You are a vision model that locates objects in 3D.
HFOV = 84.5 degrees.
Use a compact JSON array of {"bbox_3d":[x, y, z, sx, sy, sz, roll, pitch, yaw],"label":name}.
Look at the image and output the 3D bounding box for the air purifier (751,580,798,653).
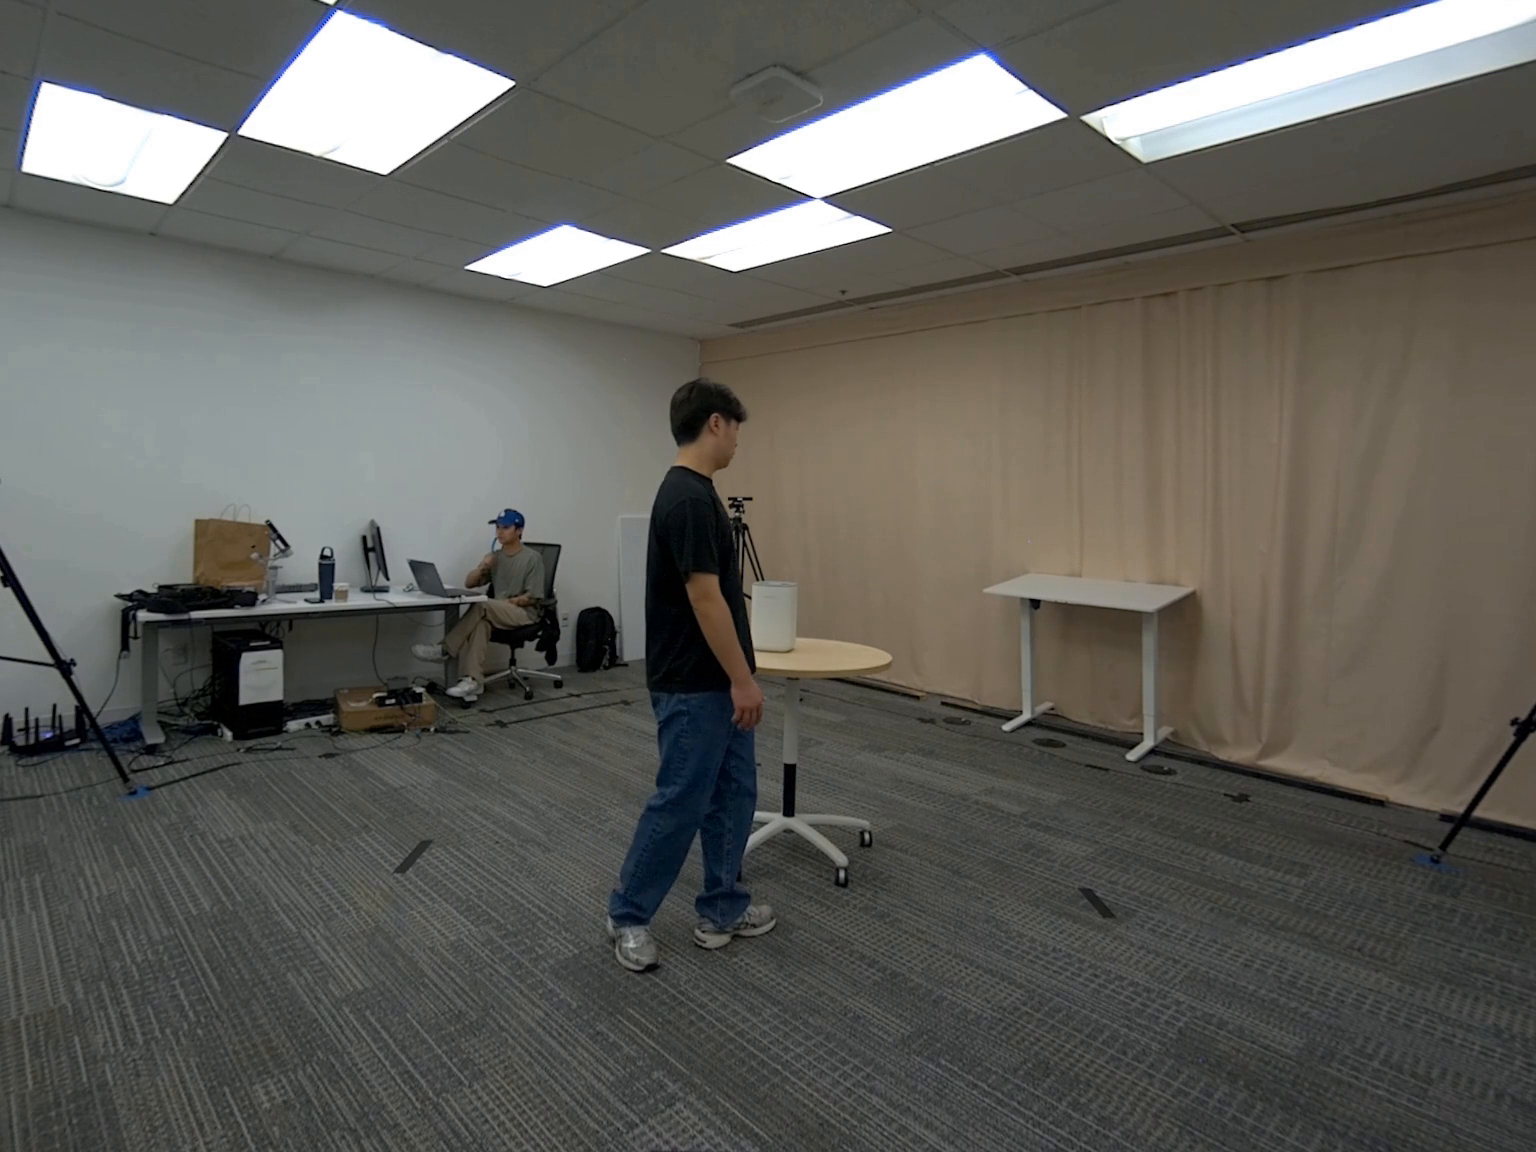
[{"bbox_3d":[0.016,0.163,3.369,0.173,0.265,0.170,3,4,12],"label":"air purifier"}]
